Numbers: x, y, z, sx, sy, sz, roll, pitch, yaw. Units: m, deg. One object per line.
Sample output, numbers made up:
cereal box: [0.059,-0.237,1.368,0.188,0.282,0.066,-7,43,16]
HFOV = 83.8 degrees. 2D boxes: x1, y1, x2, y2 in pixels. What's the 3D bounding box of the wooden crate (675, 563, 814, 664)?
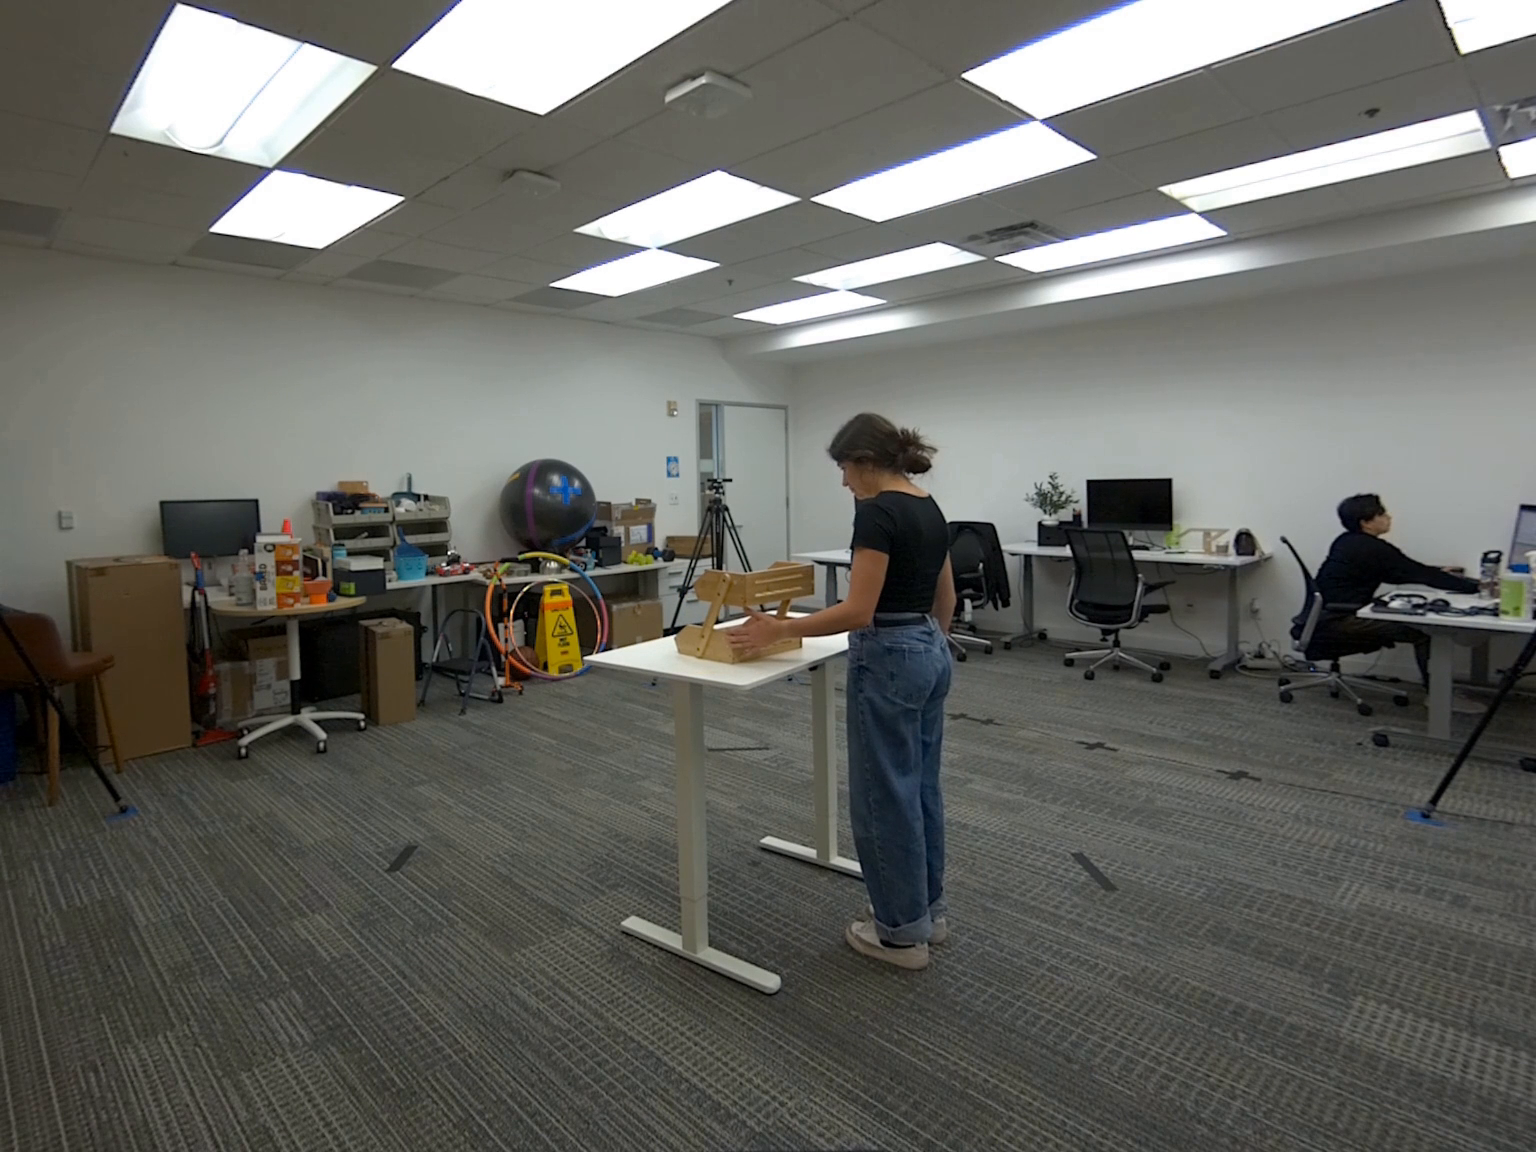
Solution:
wooden crate: [-0.064,0.094,2.555,0.311,0.272,0.316,5,8,44]
